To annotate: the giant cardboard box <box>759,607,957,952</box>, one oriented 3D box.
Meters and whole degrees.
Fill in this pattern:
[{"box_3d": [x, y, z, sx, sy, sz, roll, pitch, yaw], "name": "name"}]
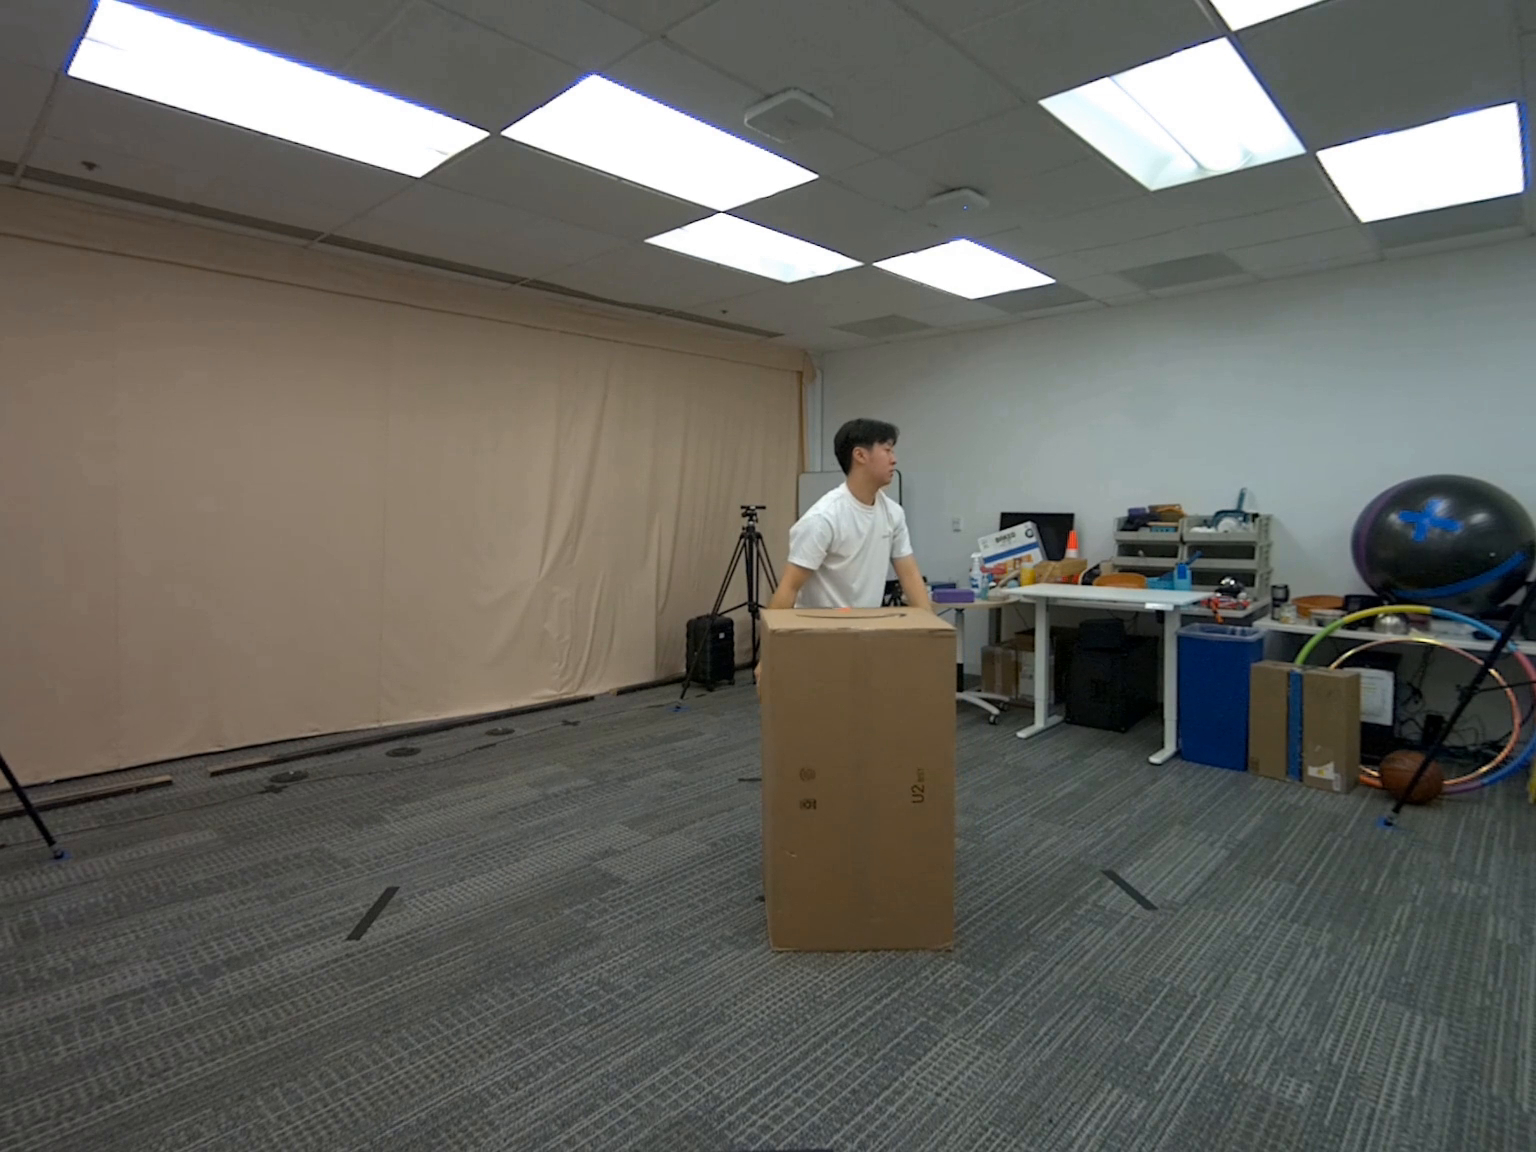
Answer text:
[{"box_3d": [0.278, 0.643, 2.795, 0.578, 1.022, 0.427, 0, 5, 0], "name": "giant cardboard box"}]
